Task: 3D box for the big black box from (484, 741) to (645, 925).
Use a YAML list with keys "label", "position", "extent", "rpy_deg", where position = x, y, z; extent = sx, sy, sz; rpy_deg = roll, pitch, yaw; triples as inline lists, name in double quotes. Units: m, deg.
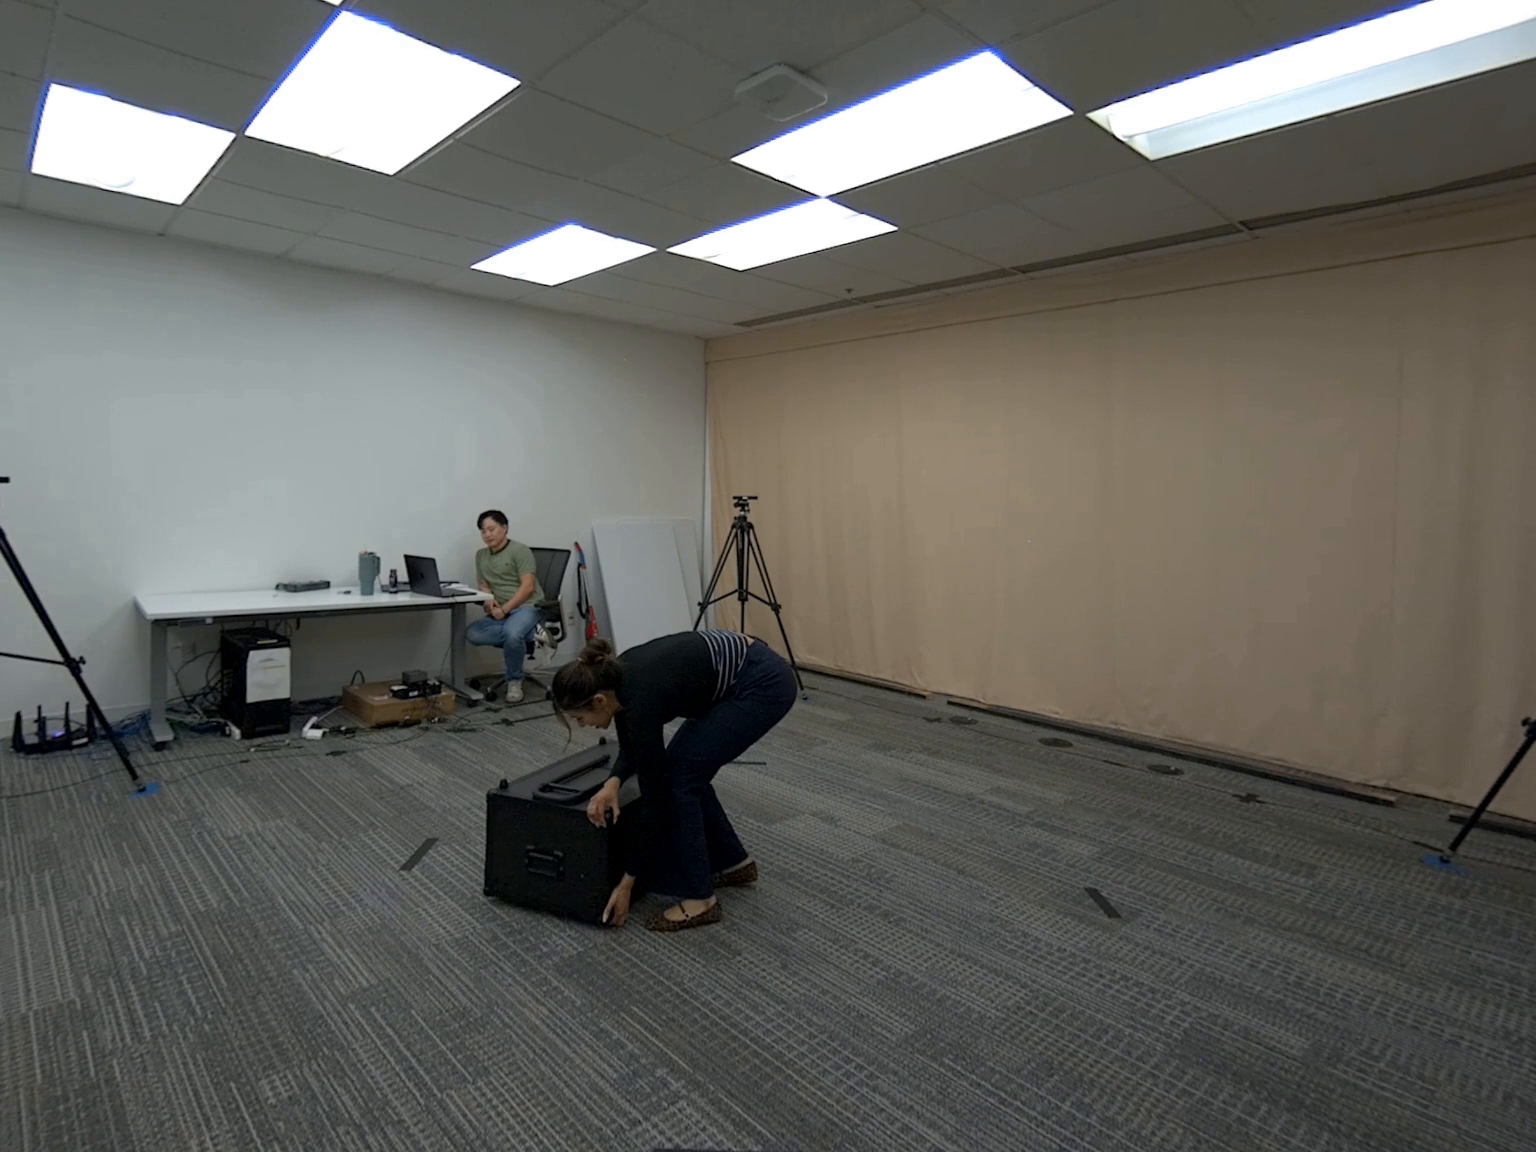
- label: "big black box"
  position: [-0.590, 0.881, 3.150]
  extent: [0.530, 0.396, 0.847]
  rpy_deg: [3, 3, 21]
